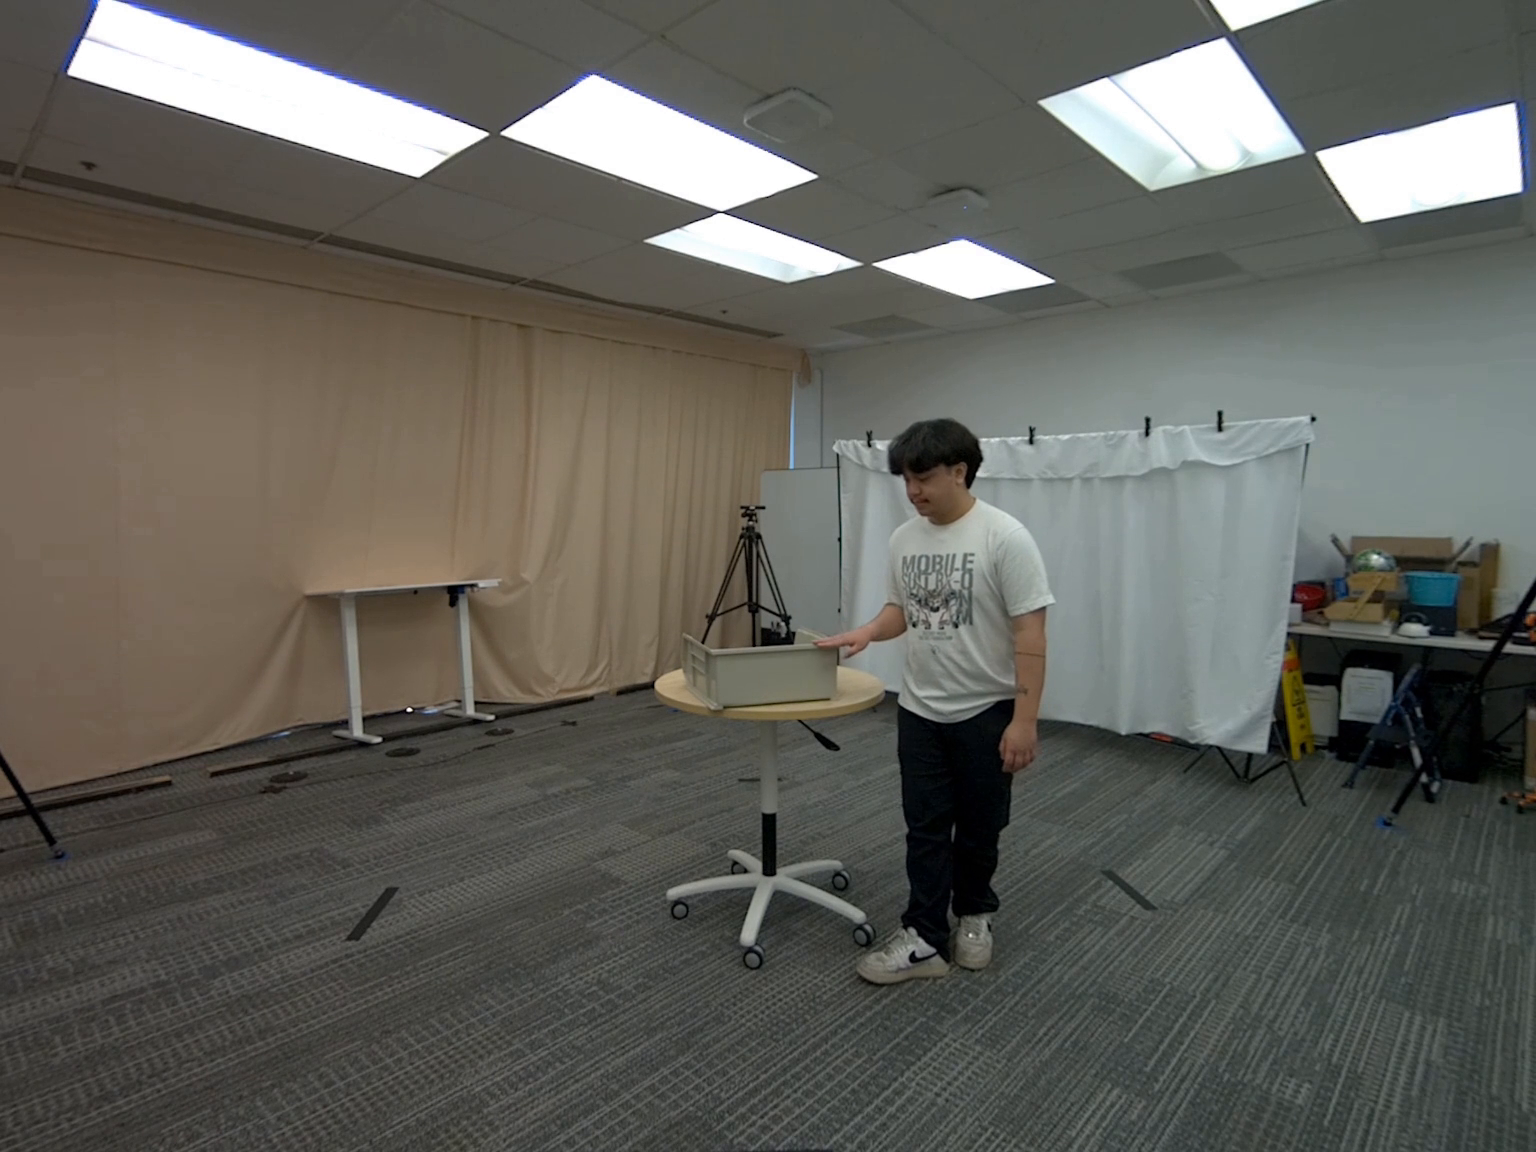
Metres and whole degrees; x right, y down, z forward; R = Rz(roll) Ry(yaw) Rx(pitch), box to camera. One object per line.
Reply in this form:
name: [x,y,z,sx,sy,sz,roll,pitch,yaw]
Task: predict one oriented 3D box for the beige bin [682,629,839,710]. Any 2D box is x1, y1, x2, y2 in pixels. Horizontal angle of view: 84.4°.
beige bin: [-0.027,0.289,2.680,0.415,0.188,0.385,-2,6,-18]
